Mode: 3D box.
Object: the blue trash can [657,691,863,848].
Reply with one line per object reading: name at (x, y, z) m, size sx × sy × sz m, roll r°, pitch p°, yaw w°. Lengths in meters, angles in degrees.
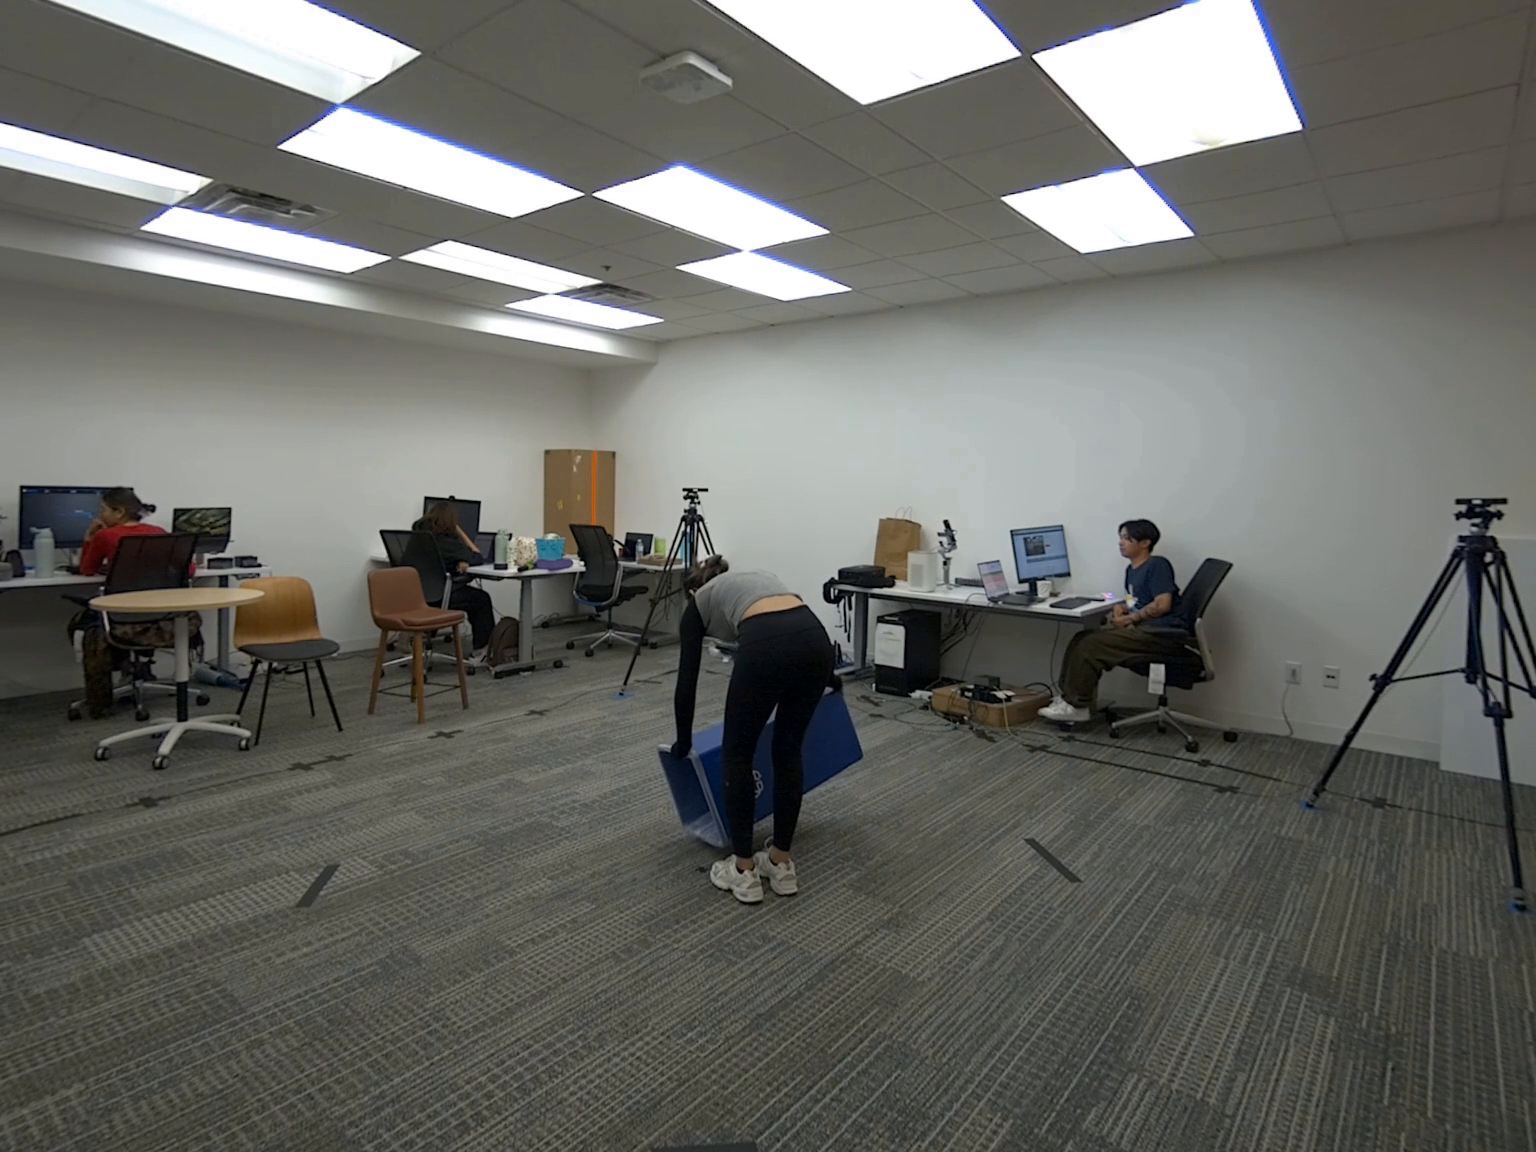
blue trash can at (-0.032, 0.715, 3.409) m, size 0.702 × 0.373 × 0.385 m, roll -22°, pitch 4°, yaw -29°
